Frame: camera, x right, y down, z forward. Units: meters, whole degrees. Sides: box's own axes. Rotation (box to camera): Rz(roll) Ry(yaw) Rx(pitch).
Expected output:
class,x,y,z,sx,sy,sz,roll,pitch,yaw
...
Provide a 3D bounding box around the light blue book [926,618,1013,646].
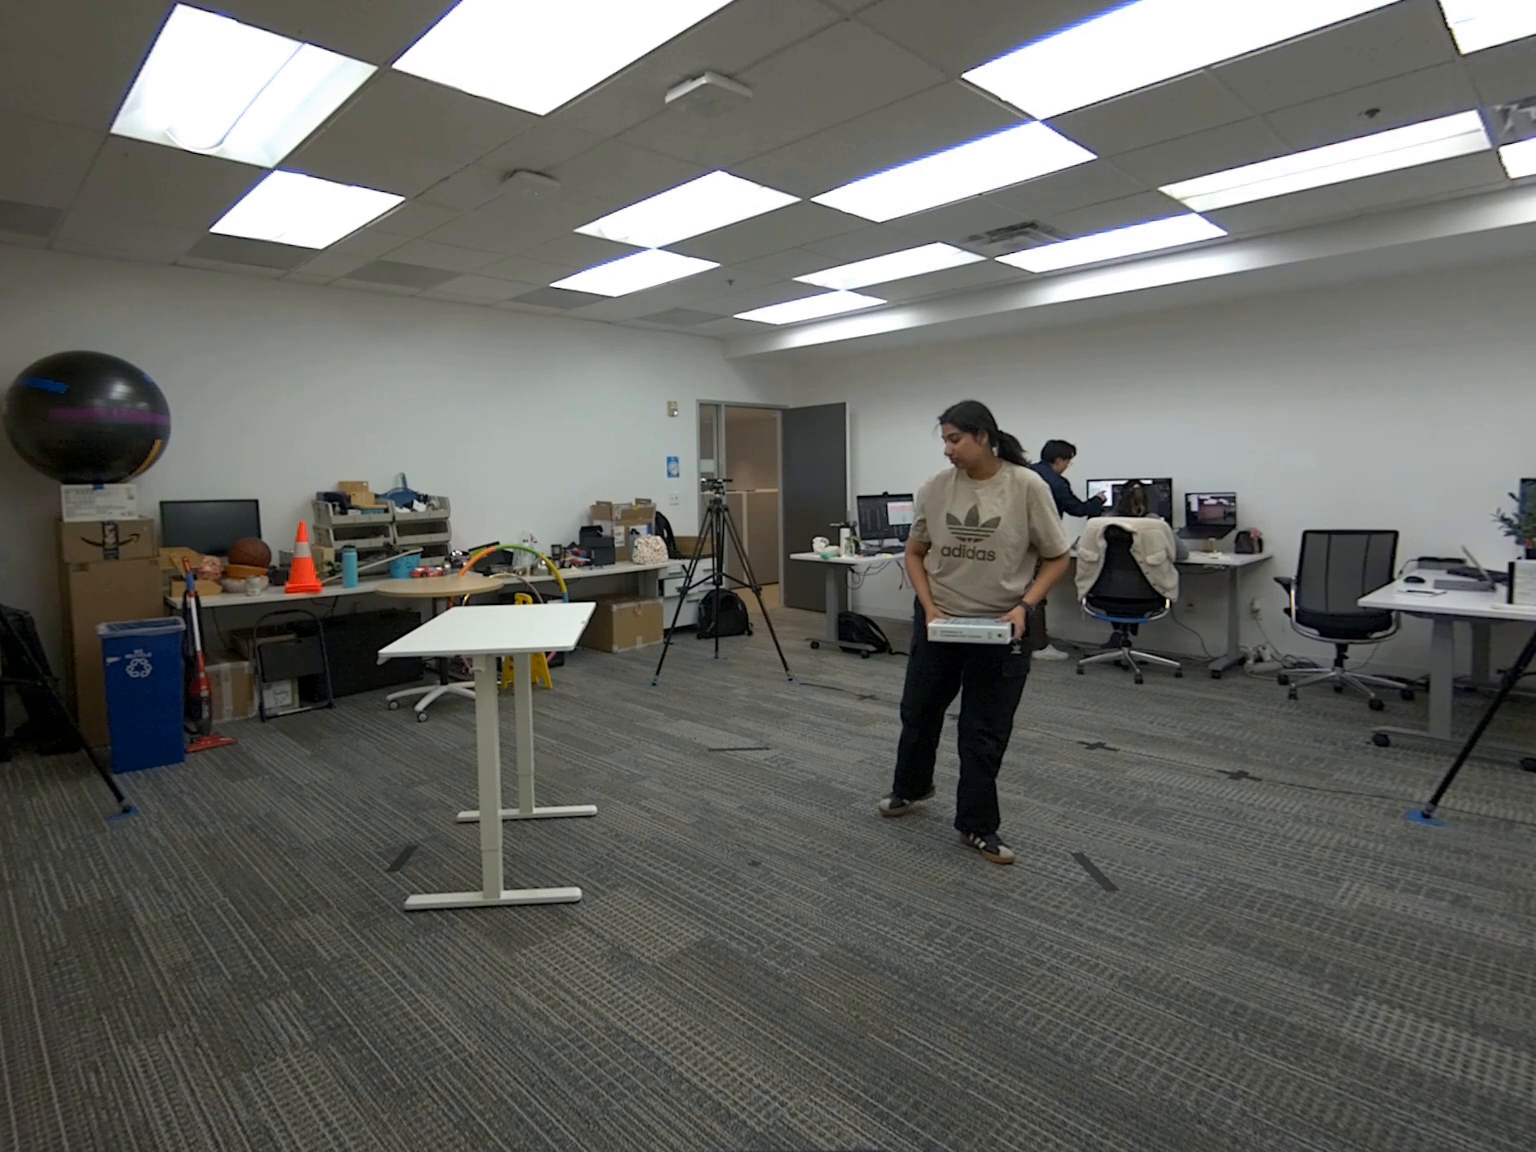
class,x,y,z,sx,sy,sz,roll,pitch,yaw
light blue book,0.721,0.190,2.964,0.267,0.059,0.188,1,6,23
